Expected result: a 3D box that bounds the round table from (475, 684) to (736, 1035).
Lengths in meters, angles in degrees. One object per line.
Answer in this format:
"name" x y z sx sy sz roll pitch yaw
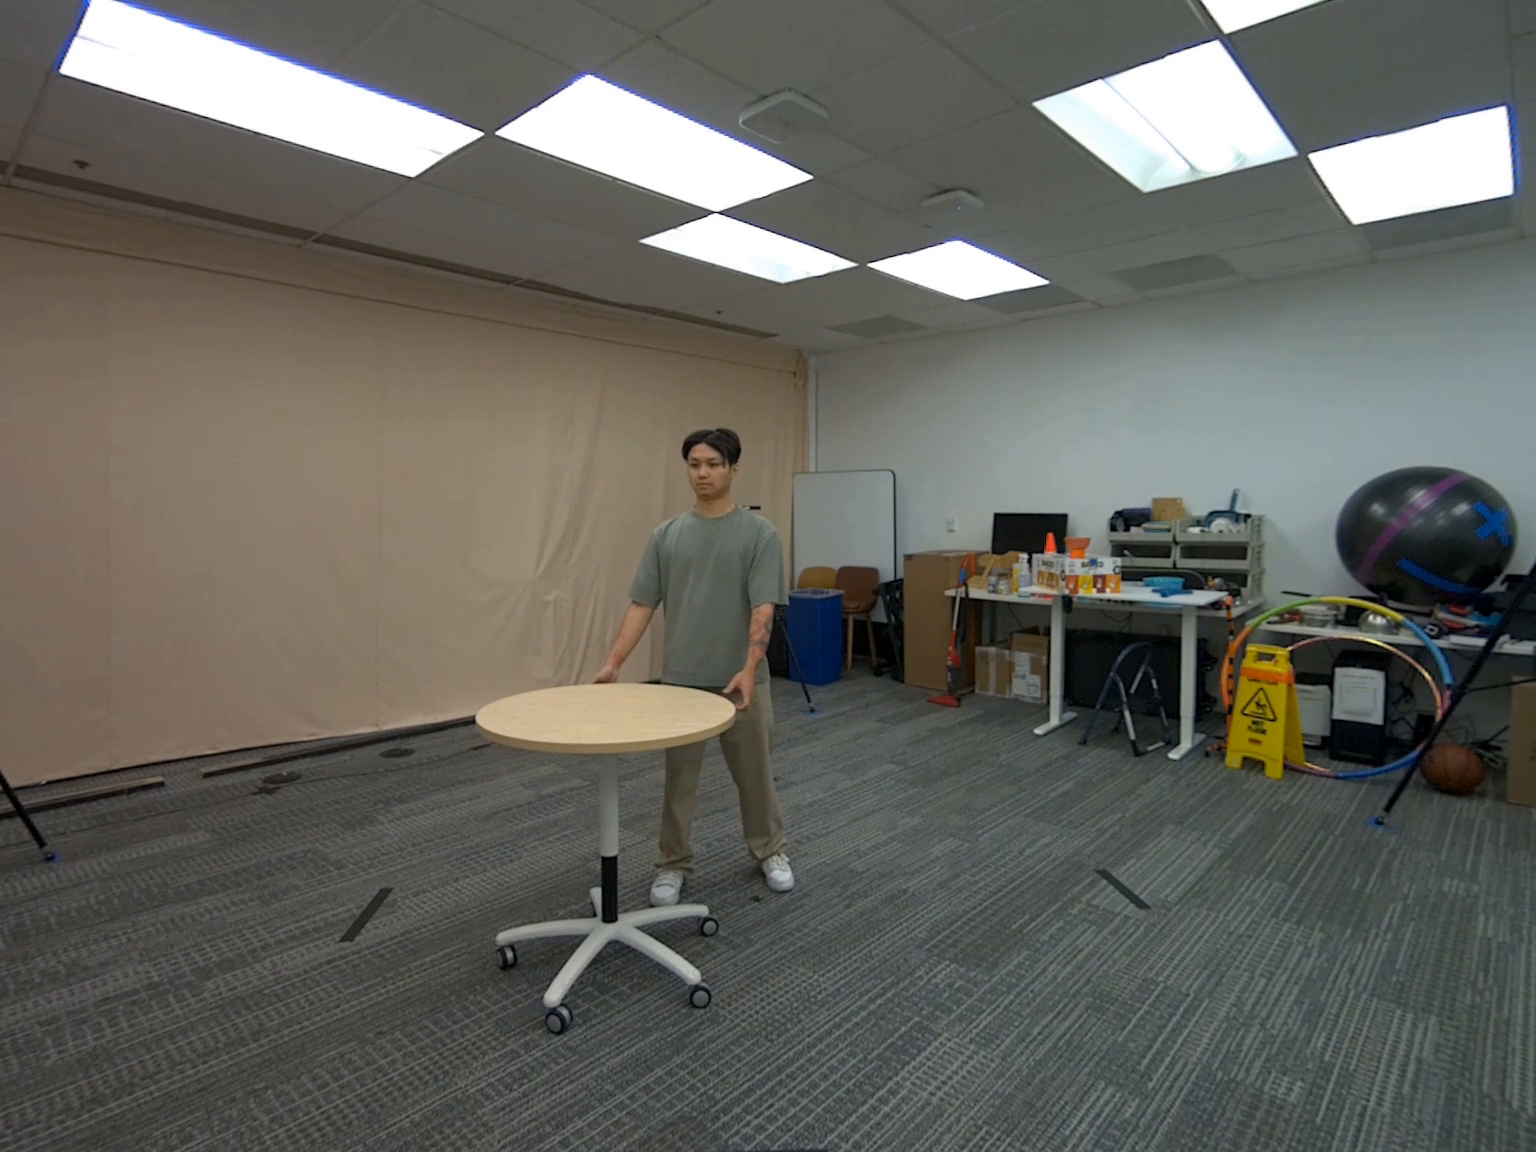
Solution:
"round table" -0.479 0.789 2.530 0.784 0.785 0.787 0 3 -2
